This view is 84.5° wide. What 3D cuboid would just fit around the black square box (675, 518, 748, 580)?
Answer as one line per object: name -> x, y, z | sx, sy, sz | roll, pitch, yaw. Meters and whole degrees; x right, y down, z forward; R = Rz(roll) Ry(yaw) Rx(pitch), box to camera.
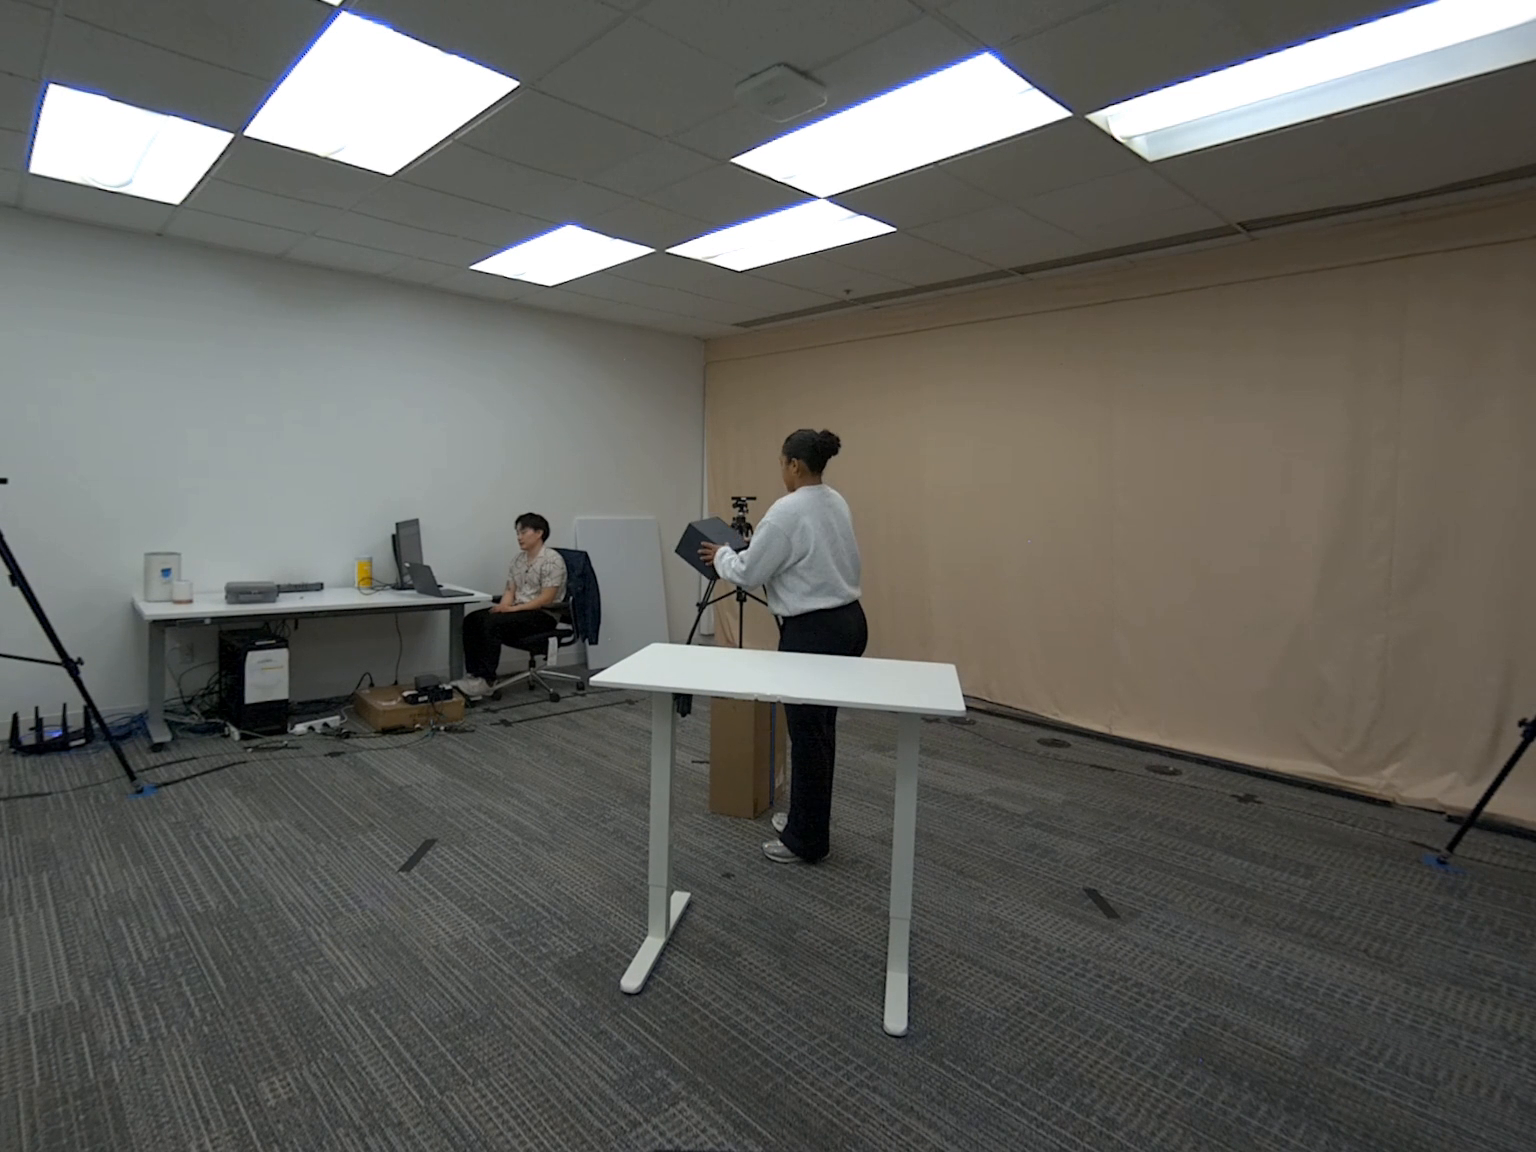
black square box -> -0.238, -0.107, 3.598 | 0.221, 0.155, 0.224 | 38, 25, 18
